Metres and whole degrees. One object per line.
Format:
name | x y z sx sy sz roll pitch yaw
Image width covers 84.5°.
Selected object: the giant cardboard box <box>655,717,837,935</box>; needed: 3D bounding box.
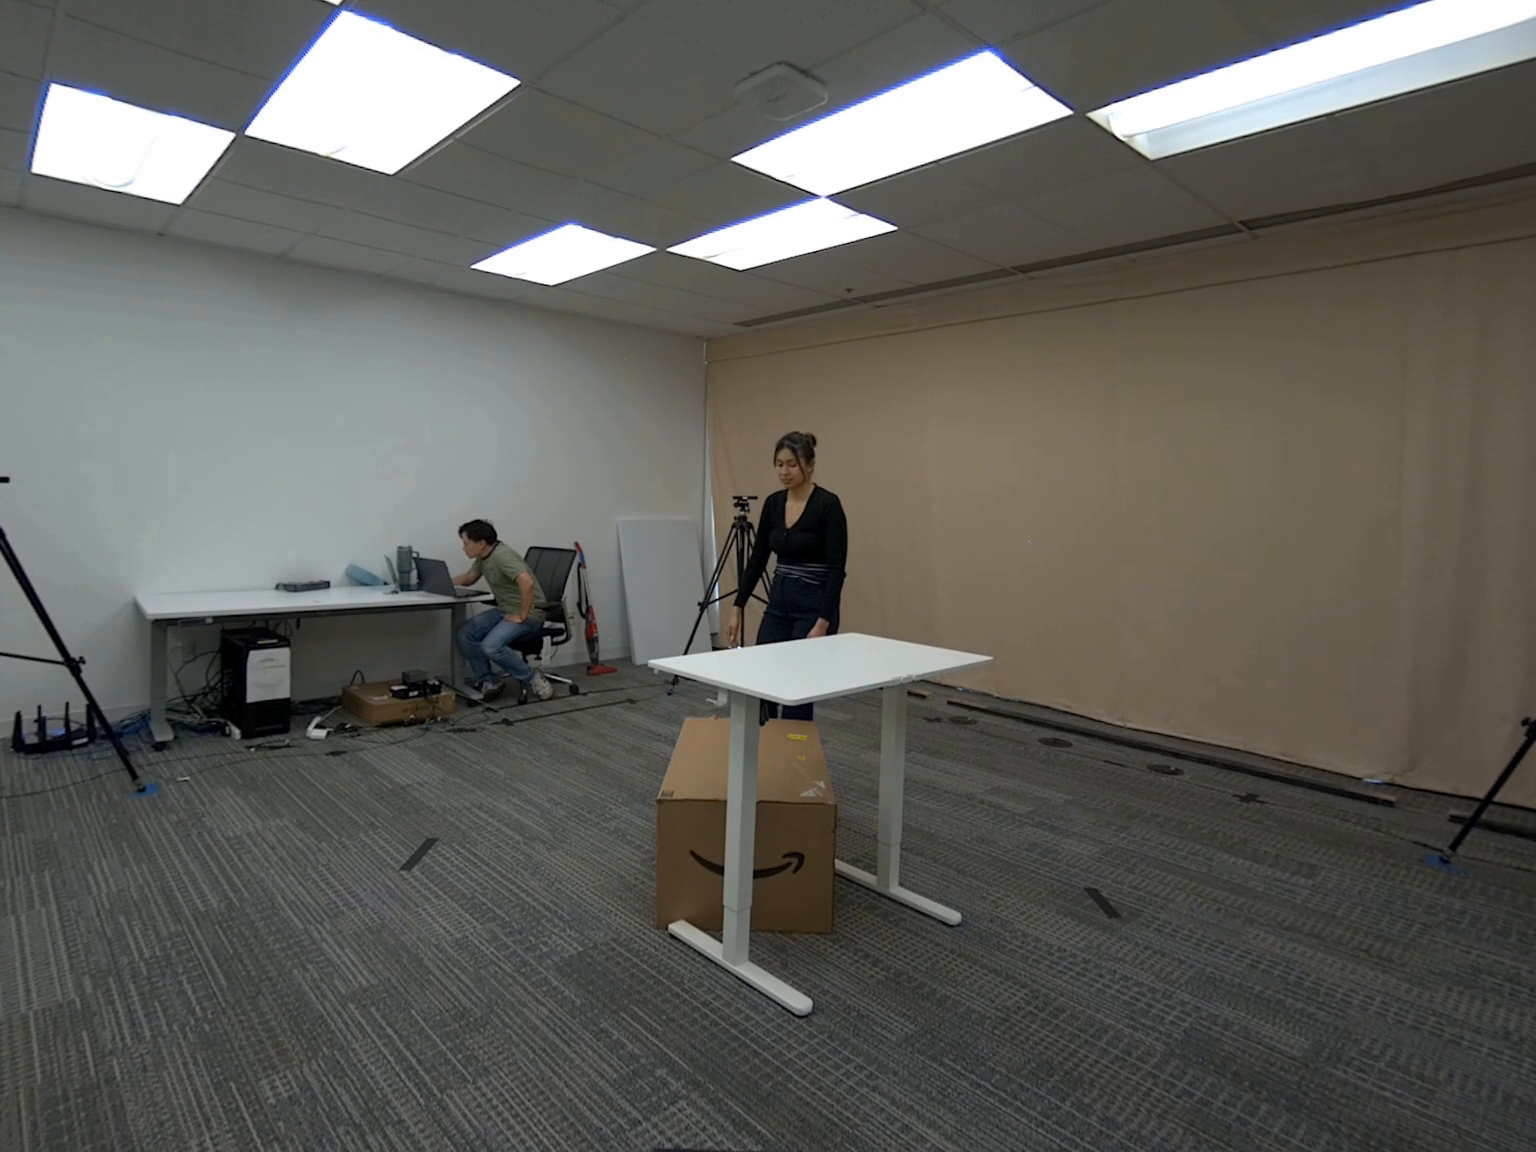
giant cardboard box | -0.088 0.881 3.197 0.578 0.425 1.028 2 5 -1
